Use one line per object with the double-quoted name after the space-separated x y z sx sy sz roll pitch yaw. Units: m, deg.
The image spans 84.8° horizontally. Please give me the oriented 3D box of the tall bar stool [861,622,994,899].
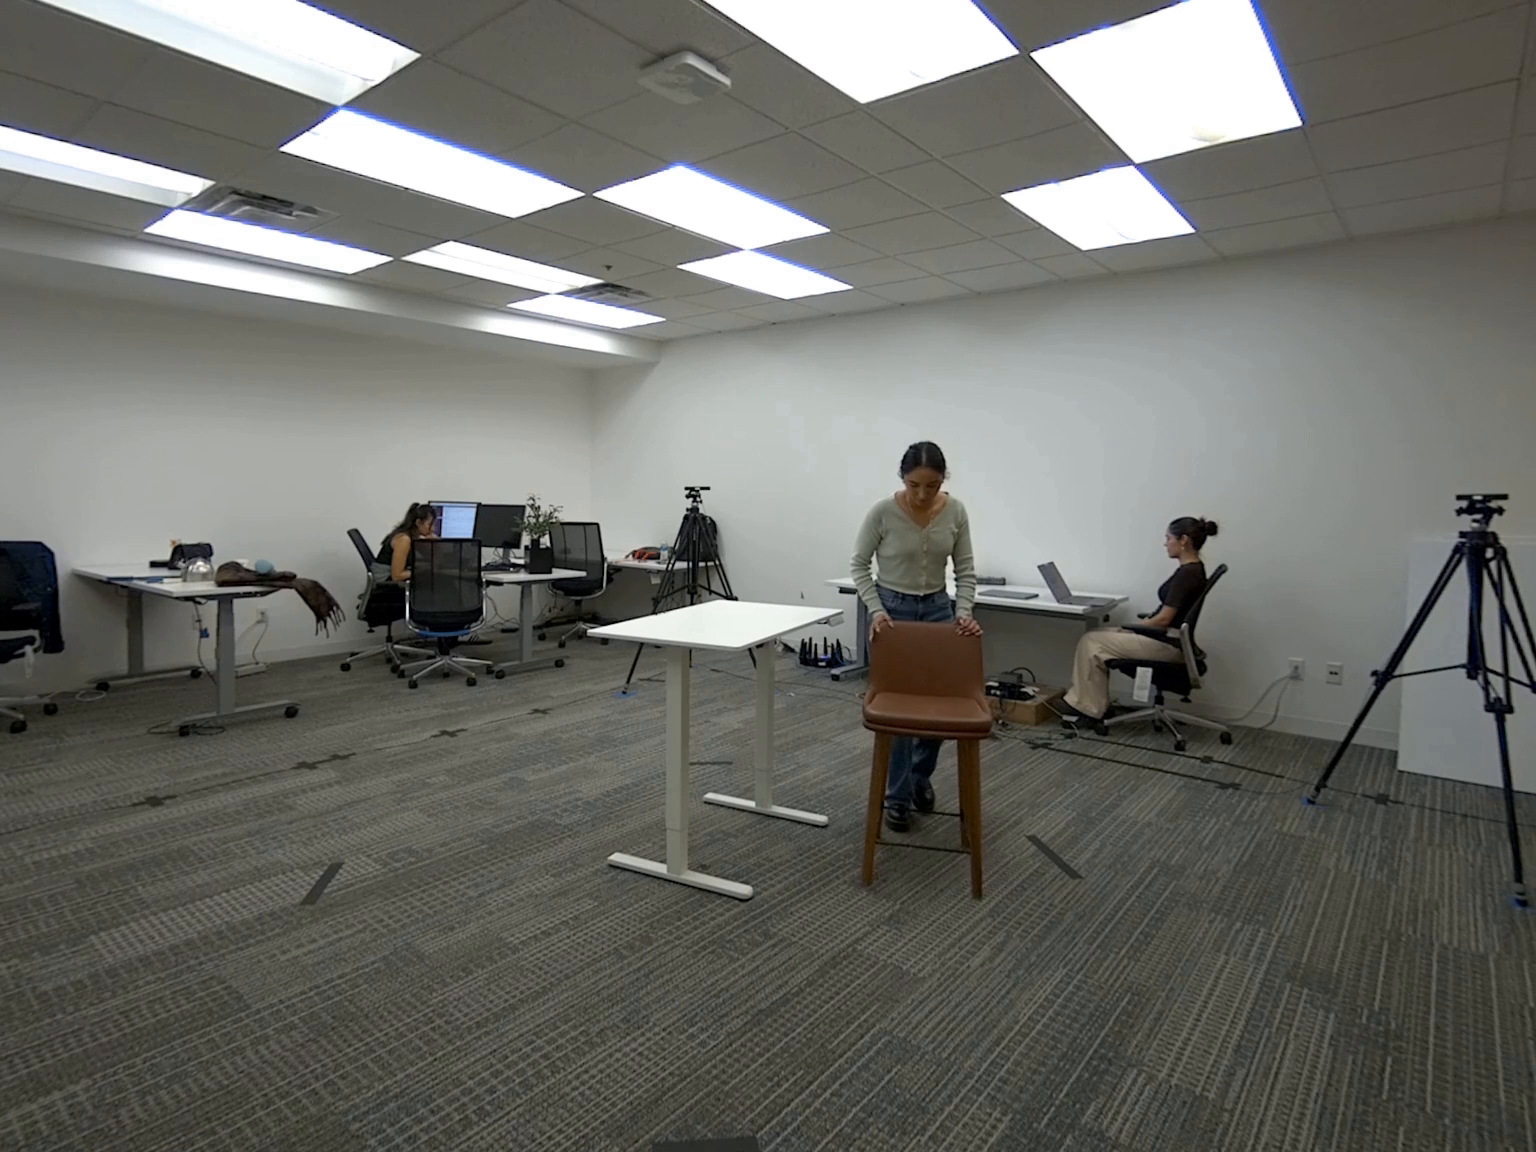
0.575 0.635 3.159 0.463 0.889 0.461 2 1 12 "tall bar stool"
